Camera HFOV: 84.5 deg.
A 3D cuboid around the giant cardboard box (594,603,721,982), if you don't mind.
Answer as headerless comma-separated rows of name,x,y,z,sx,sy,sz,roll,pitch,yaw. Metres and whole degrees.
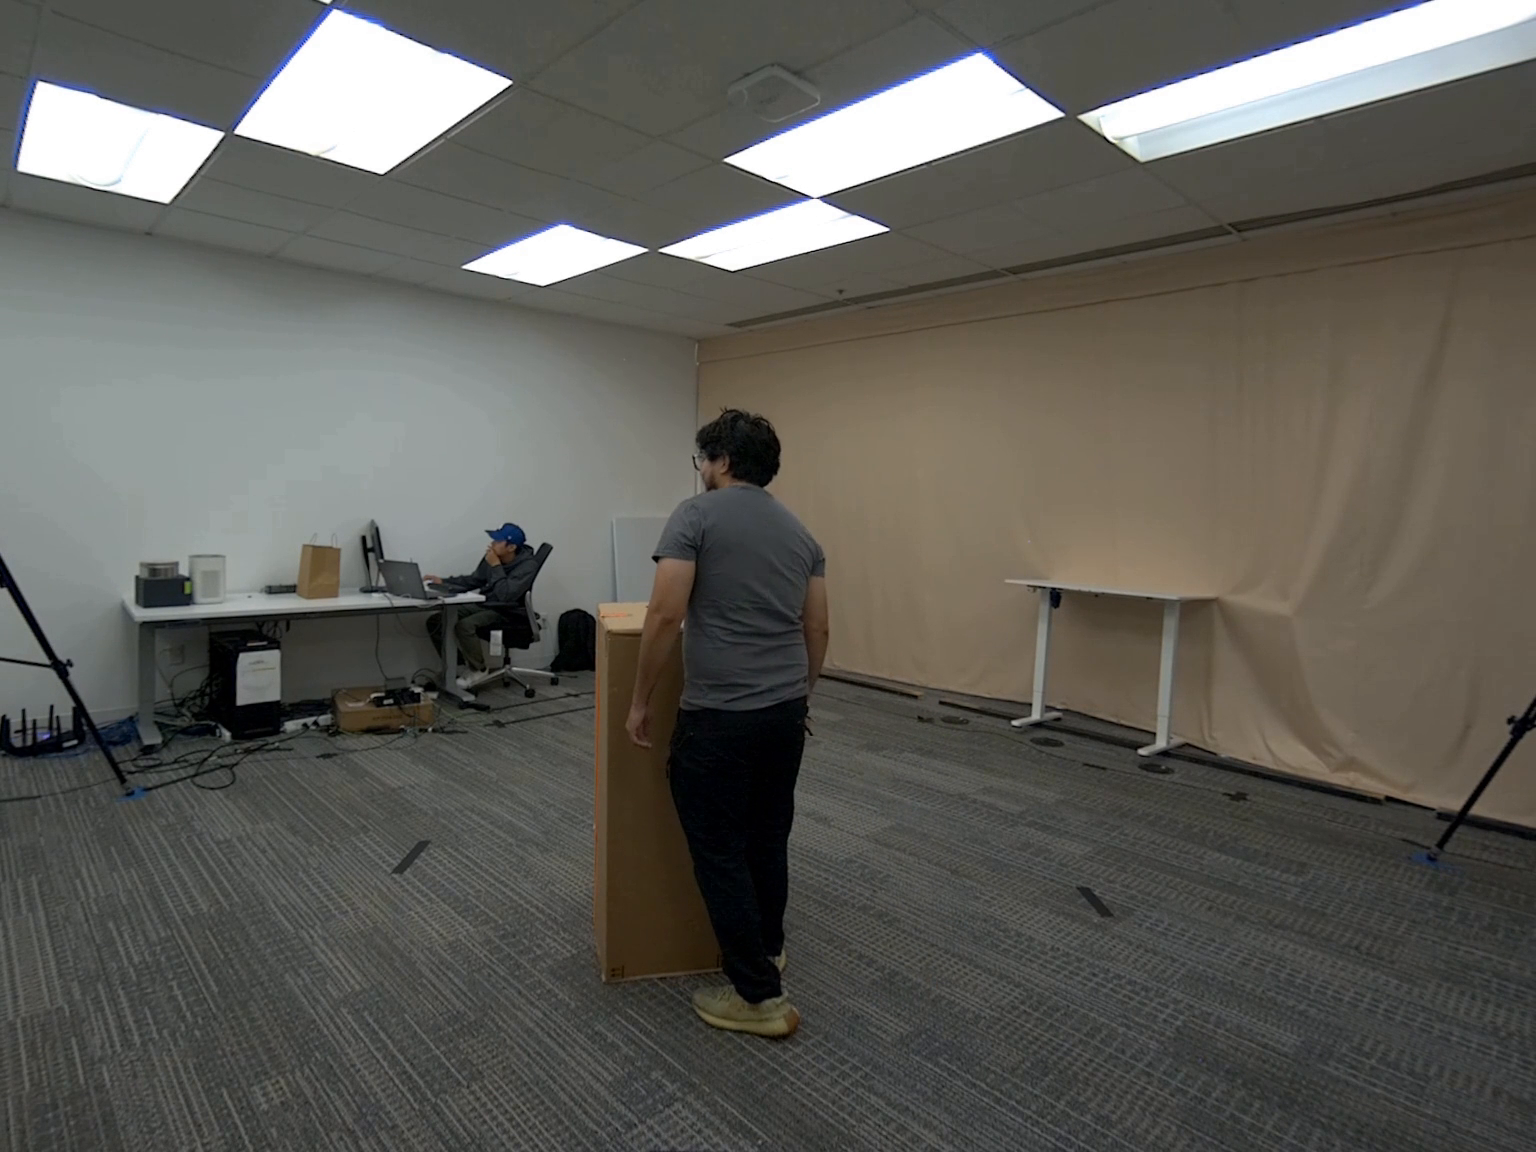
giant cardboard box,-0.336,0.633,2.690,0.442,1.025,0.592,1,3,-15
